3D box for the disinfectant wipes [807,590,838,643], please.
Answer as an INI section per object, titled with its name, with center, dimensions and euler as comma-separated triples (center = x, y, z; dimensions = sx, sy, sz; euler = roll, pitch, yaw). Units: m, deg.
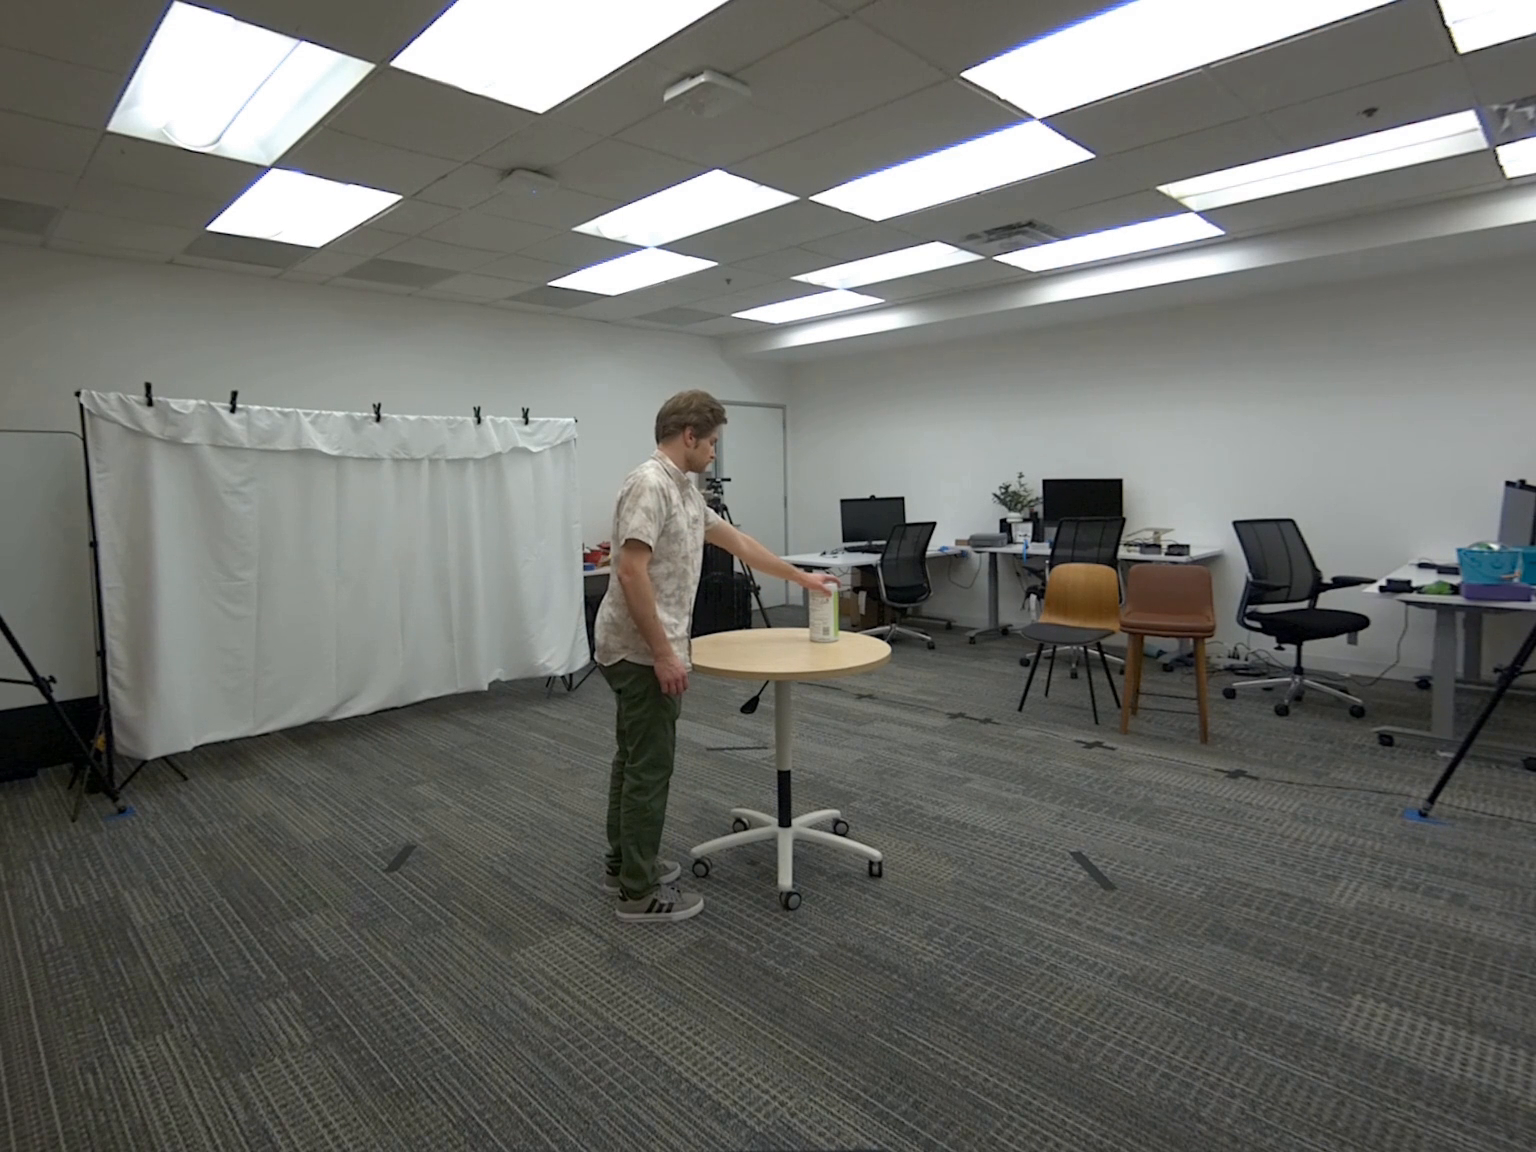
[disinfectant wipes]
center = 0.208, 0.132, 3.162
dimensions = 0.118, 0.217, 0.118
euler = -1, 2, -2
